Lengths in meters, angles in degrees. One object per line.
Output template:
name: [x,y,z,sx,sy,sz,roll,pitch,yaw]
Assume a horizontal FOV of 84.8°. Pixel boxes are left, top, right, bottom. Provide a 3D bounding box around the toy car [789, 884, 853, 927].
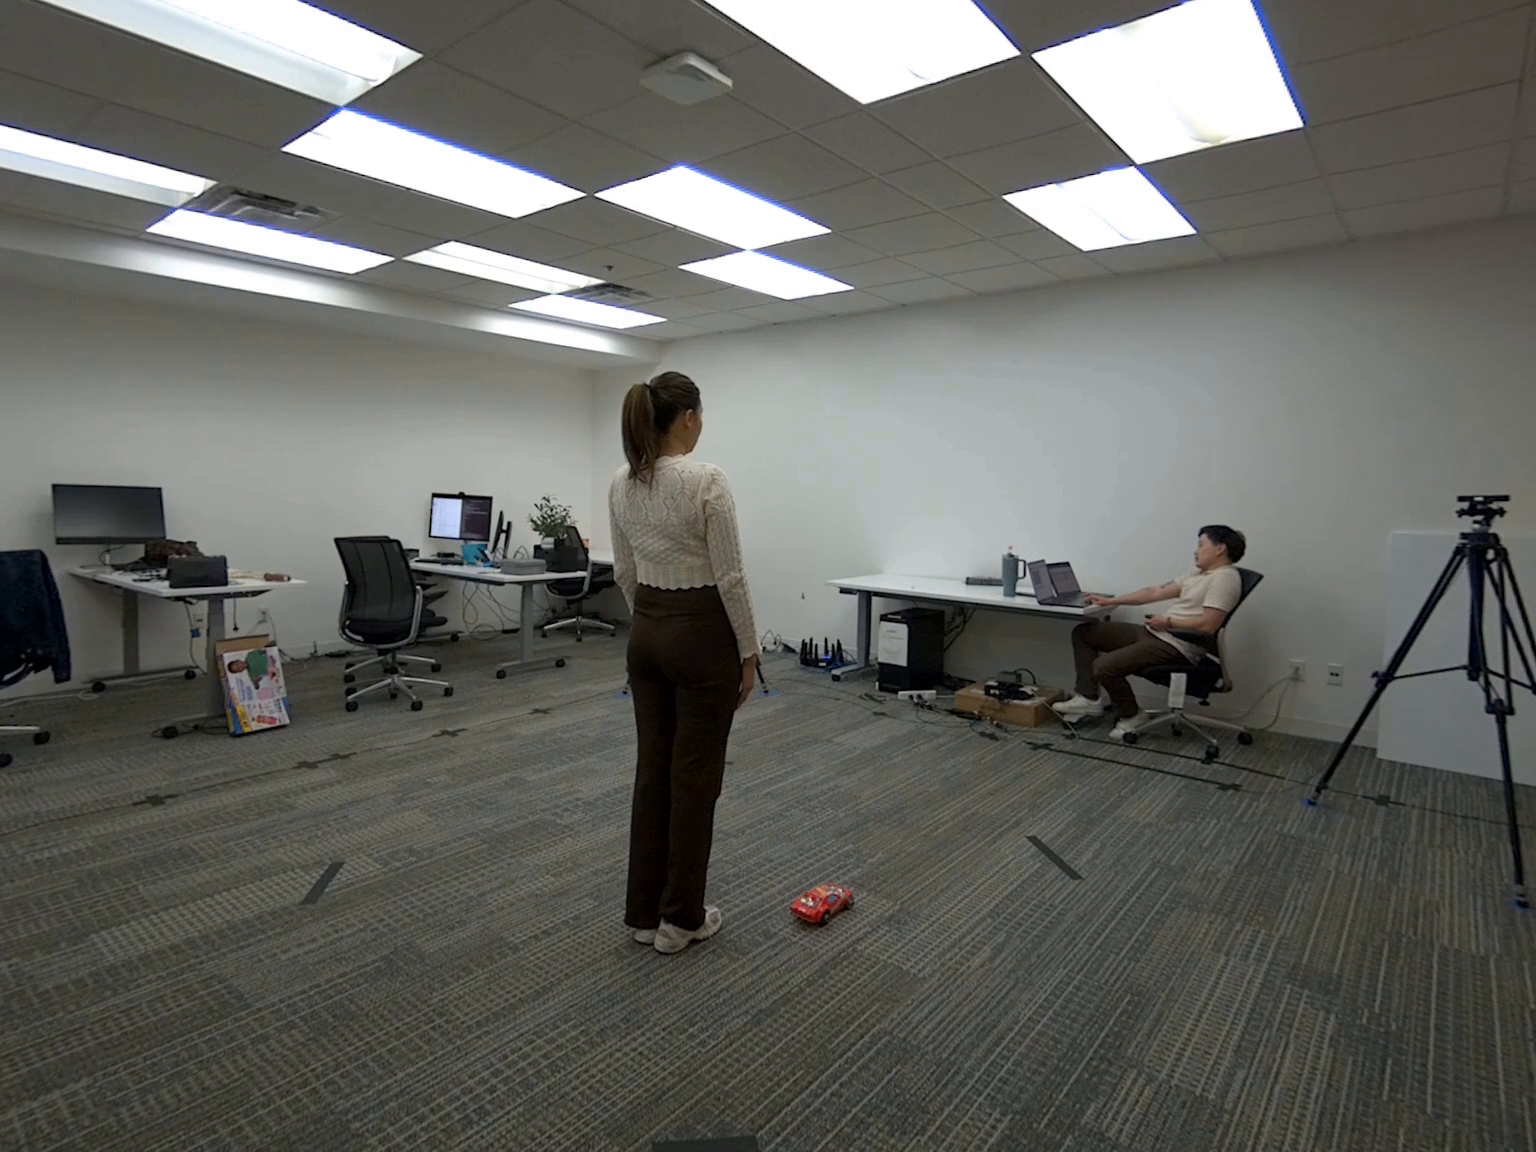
toy car: [0.166,1.073,2.796,0.135,0.083,0.245,7,-3,40]
